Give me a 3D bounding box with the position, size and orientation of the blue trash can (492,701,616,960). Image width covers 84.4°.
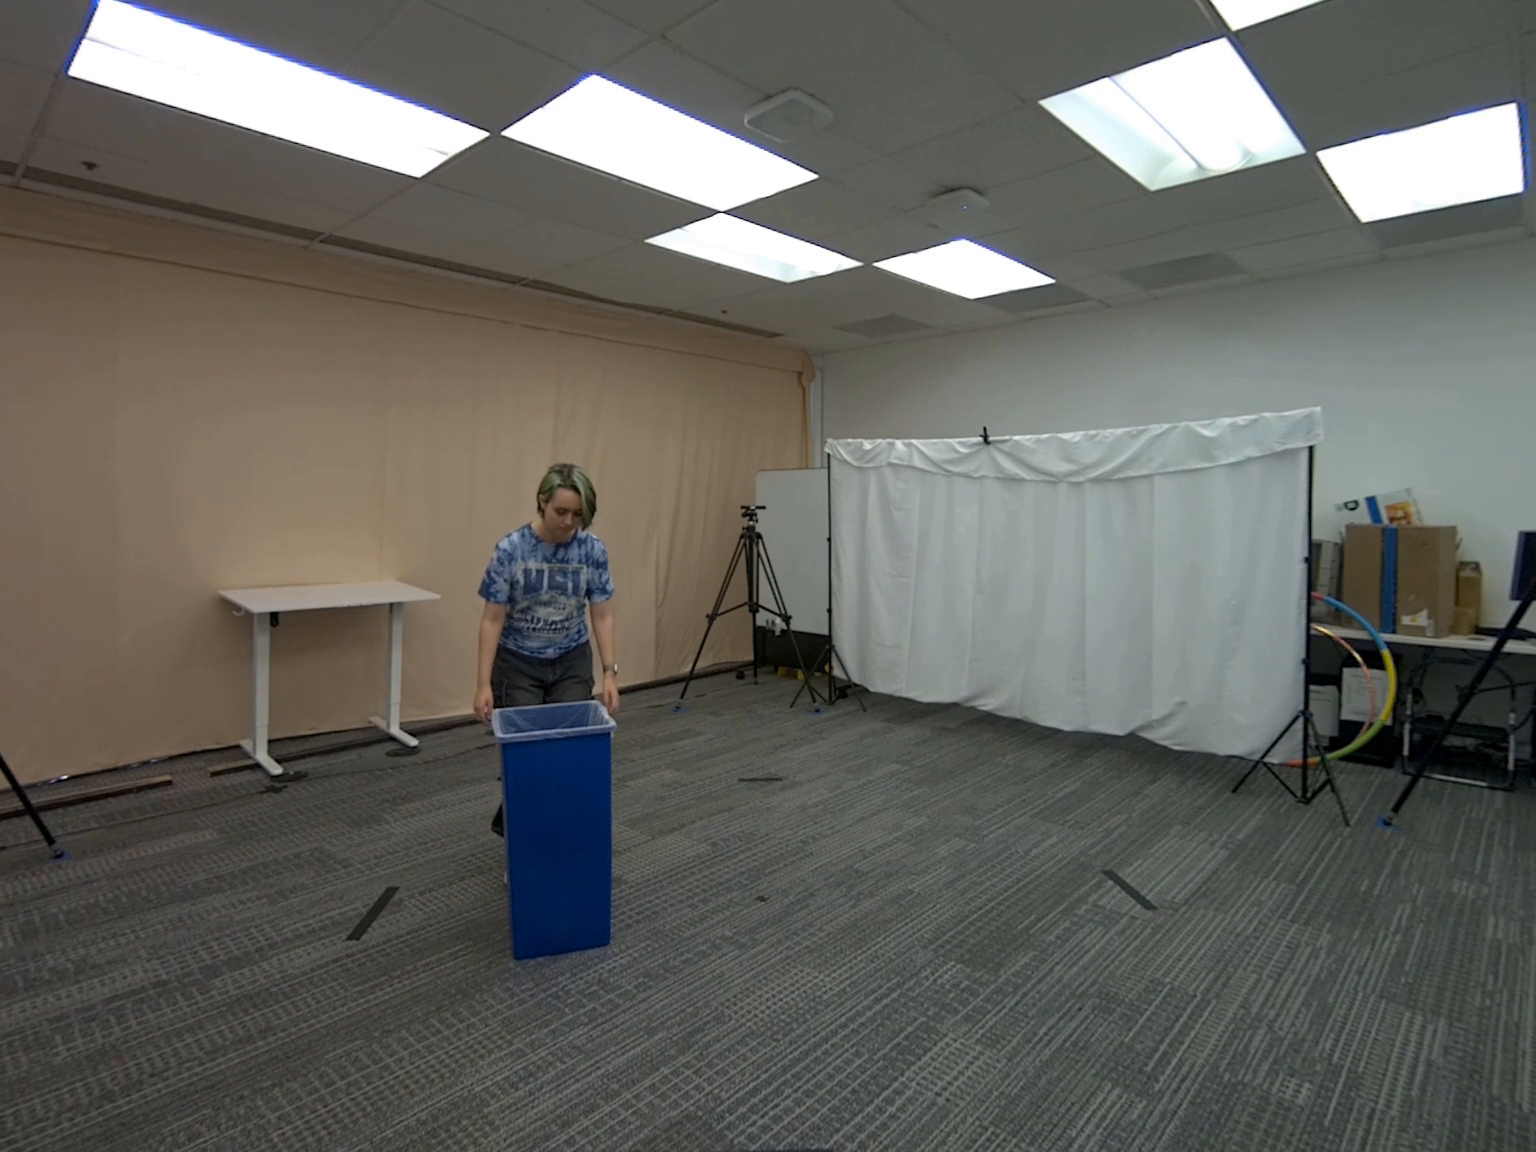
[{"bbox_3d":[-0.700,0.815,2.744,0.367,0.712,0.386,-2,3,-19],"label":"blue trash can"}]
